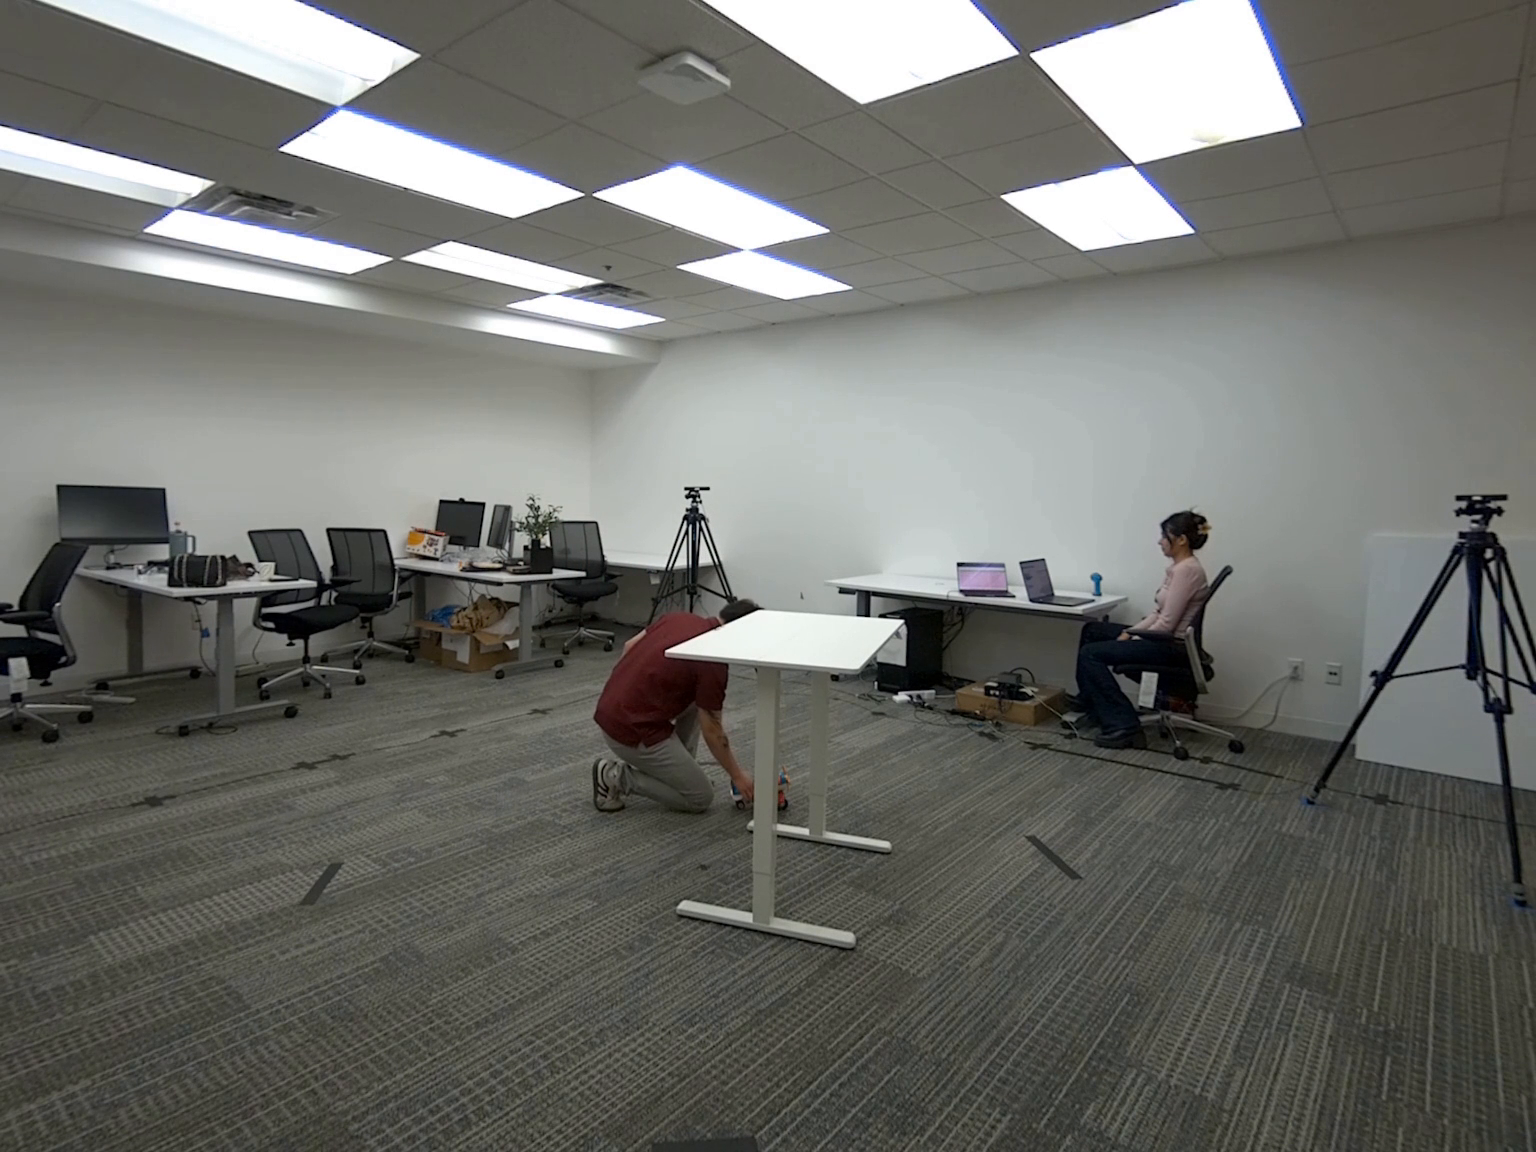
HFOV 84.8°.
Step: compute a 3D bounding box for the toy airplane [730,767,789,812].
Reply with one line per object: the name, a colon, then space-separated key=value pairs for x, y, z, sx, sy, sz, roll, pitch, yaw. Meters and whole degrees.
toy airplane: x=-0.037 y=0.938 z=3.711 sx=0.252 sy=0.156 sz=0.260 roll=-2 pitch=7 yaw=-36
